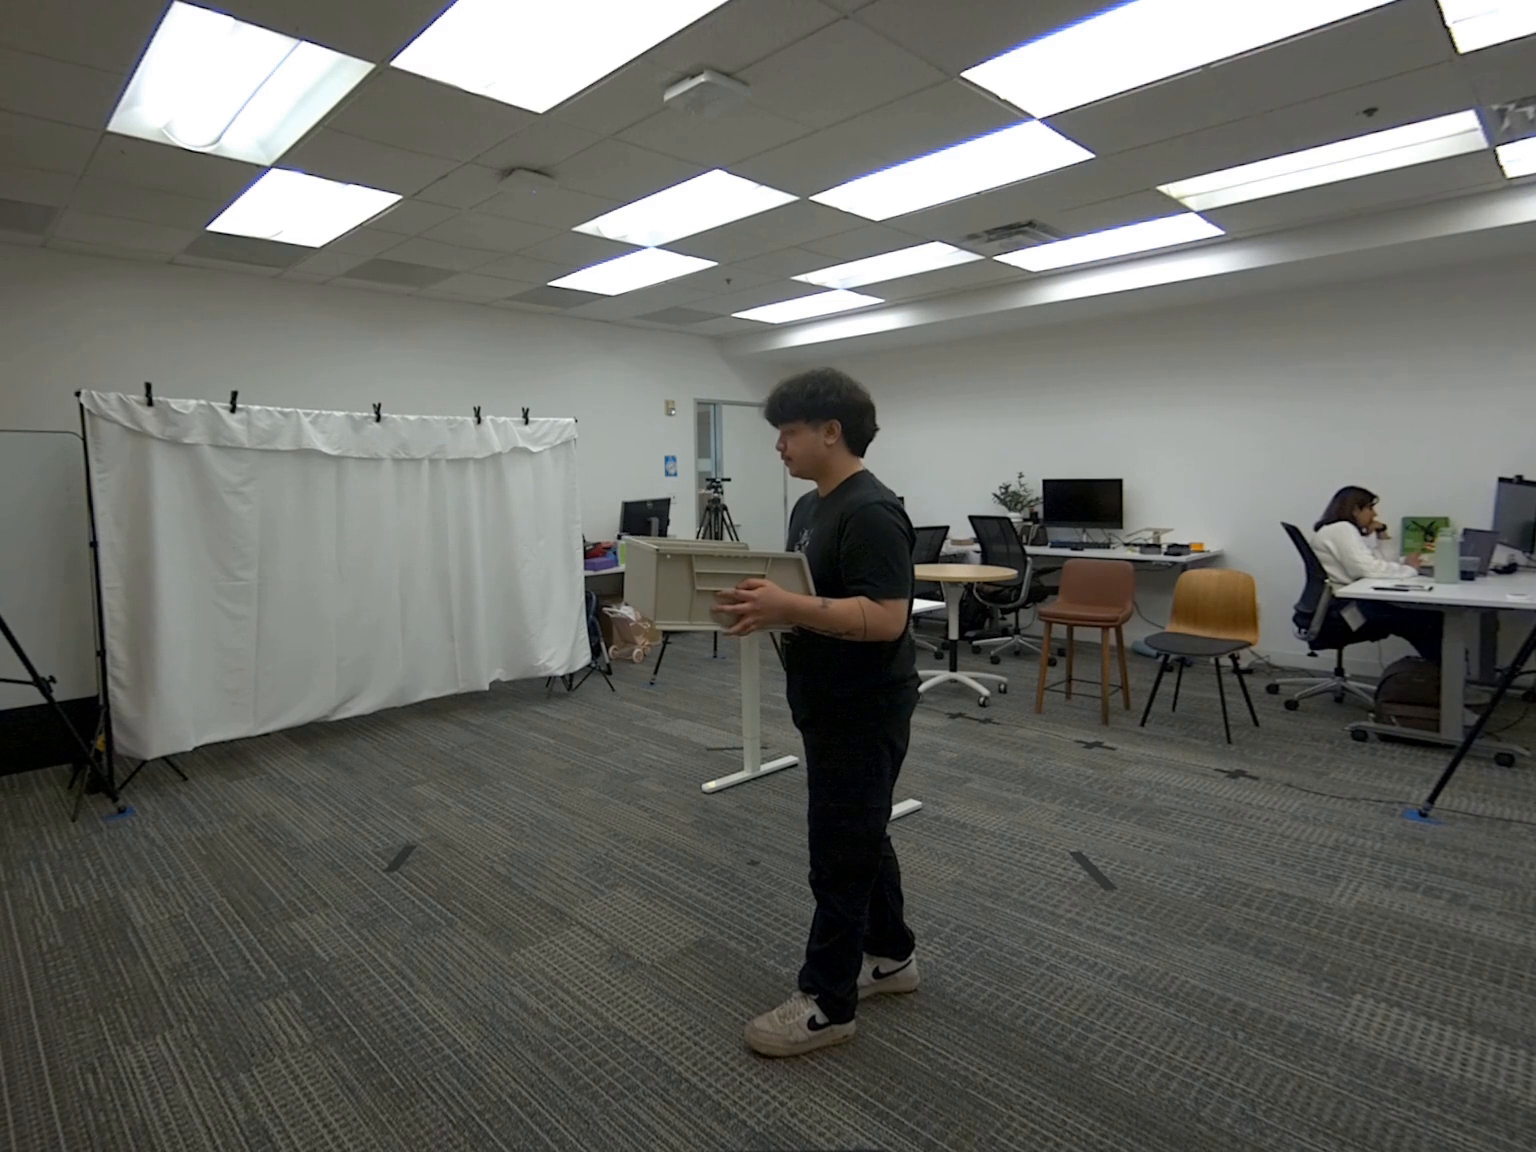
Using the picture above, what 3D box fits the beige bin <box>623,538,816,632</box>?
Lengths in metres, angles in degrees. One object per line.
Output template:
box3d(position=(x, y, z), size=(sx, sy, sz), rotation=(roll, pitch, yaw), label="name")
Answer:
box3d(position=(-0.138, 0.011, 2.063), size=(0.372, 0.188, 0.430), rotation=(1, 5, -15), label="beige bin")
